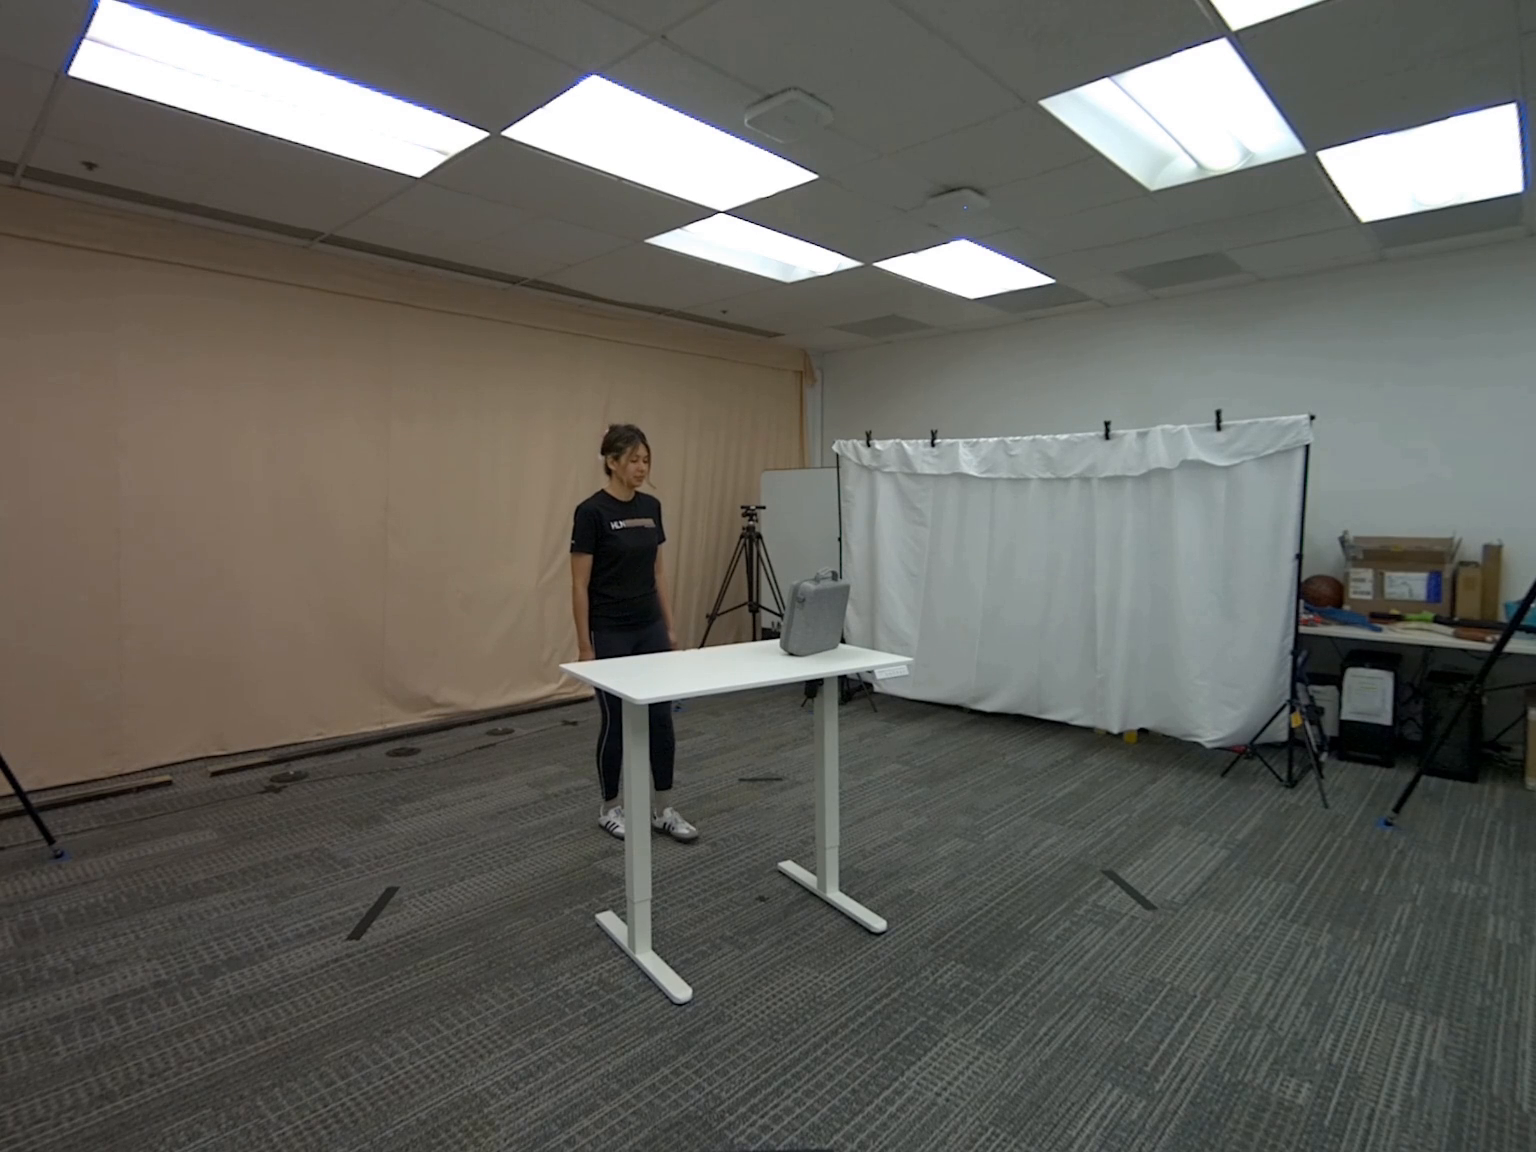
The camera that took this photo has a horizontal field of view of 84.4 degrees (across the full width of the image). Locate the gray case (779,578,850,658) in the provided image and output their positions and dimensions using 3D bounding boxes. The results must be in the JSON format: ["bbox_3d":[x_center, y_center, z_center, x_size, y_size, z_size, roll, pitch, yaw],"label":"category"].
[{"bbox_3d":[0.171,0.133,2.899,0.108,0.259,0.249,18,16,37],"label":"gray case"}]
